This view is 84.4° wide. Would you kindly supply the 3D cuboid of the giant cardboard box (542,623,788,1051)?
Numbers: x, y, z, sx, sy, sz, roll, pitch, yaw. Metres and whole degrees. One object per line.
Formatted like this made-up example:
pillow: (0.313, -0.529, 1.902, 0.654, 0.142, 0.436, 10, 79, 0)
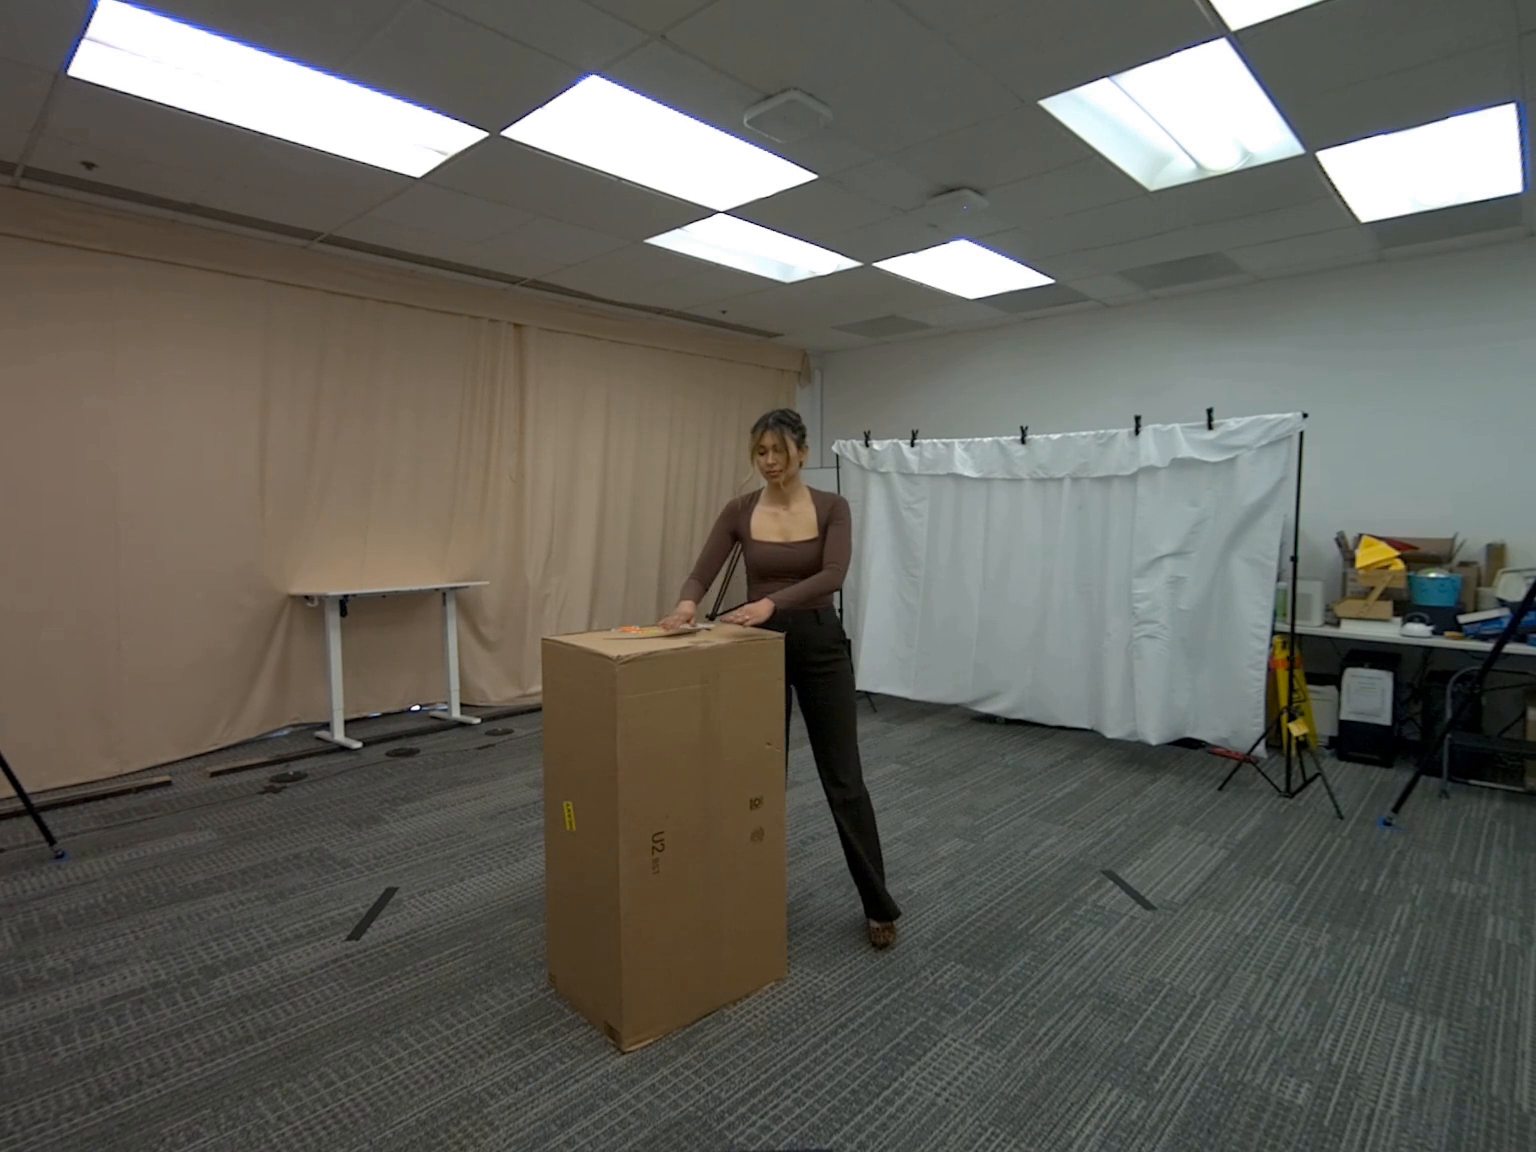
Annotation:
giant cardboard box: (-0.300, 0.680, 2.451, 0.566, 1.025, 0.461, -2, 3, -38)
